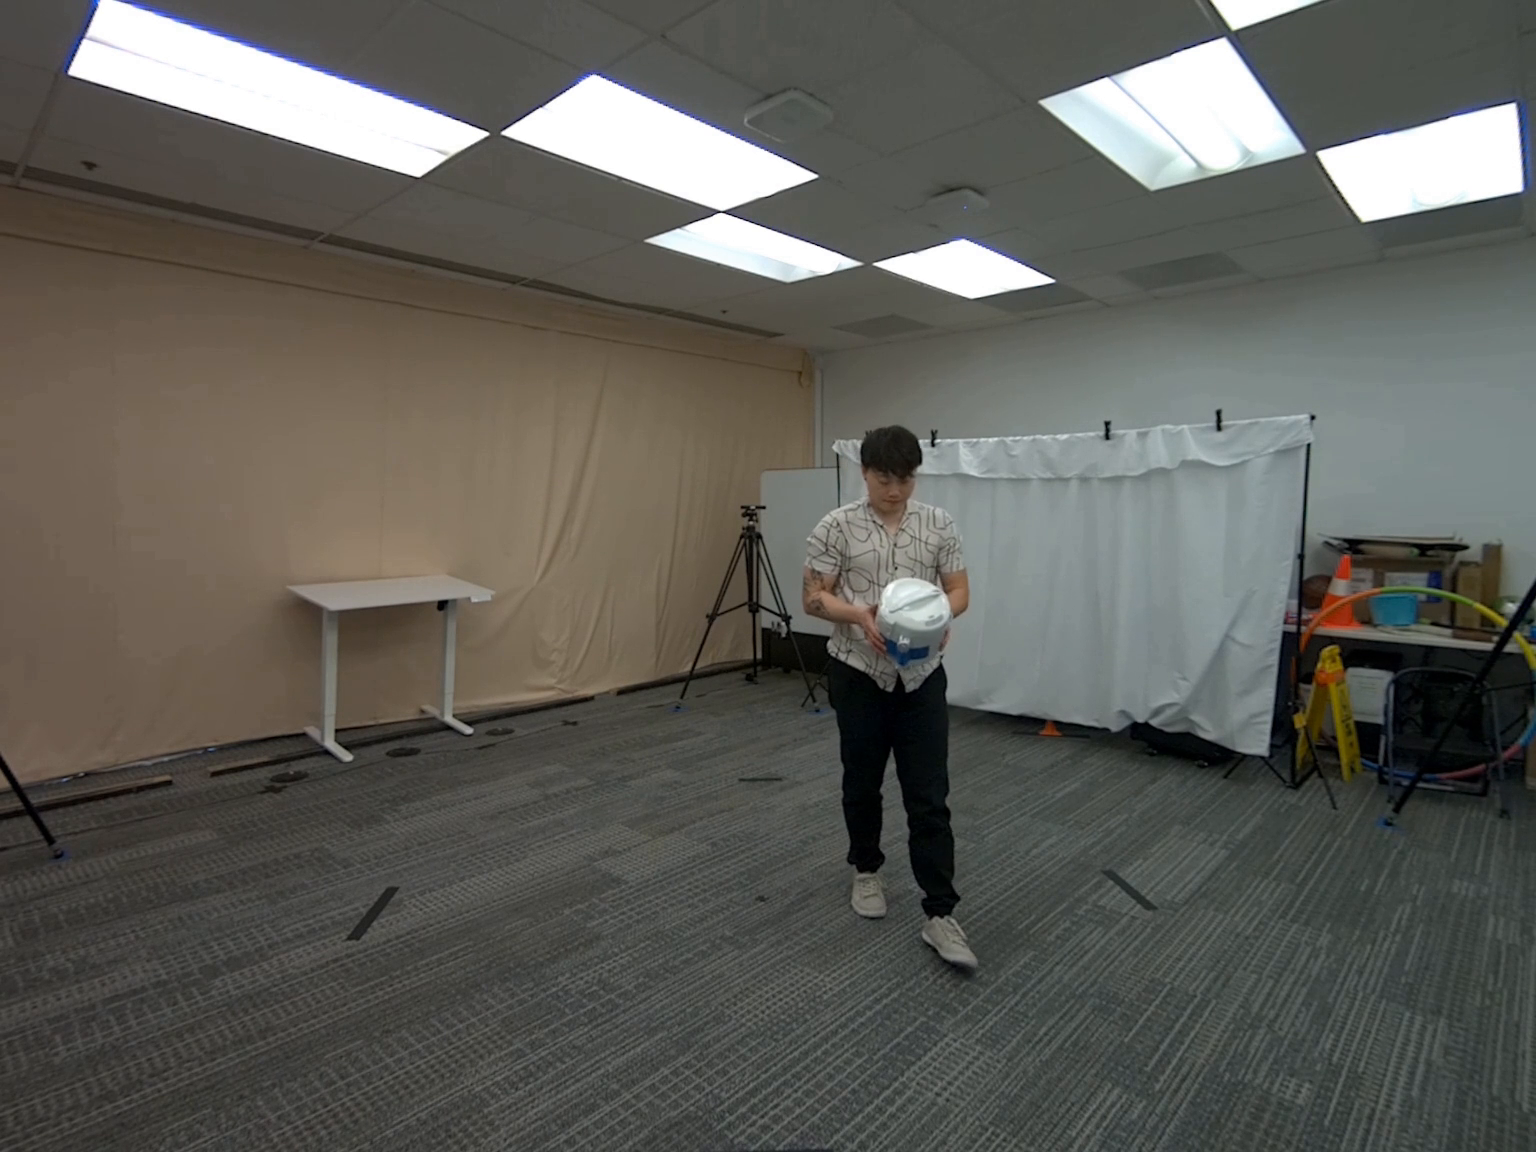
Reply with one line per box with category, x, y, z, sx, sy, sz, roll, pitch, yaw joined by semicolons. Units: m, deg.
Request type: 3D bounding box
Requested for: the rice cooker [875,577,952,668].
rice cooker;0.430;0.127;2.517;0.217;0.229;0.224;-17;50;-19
